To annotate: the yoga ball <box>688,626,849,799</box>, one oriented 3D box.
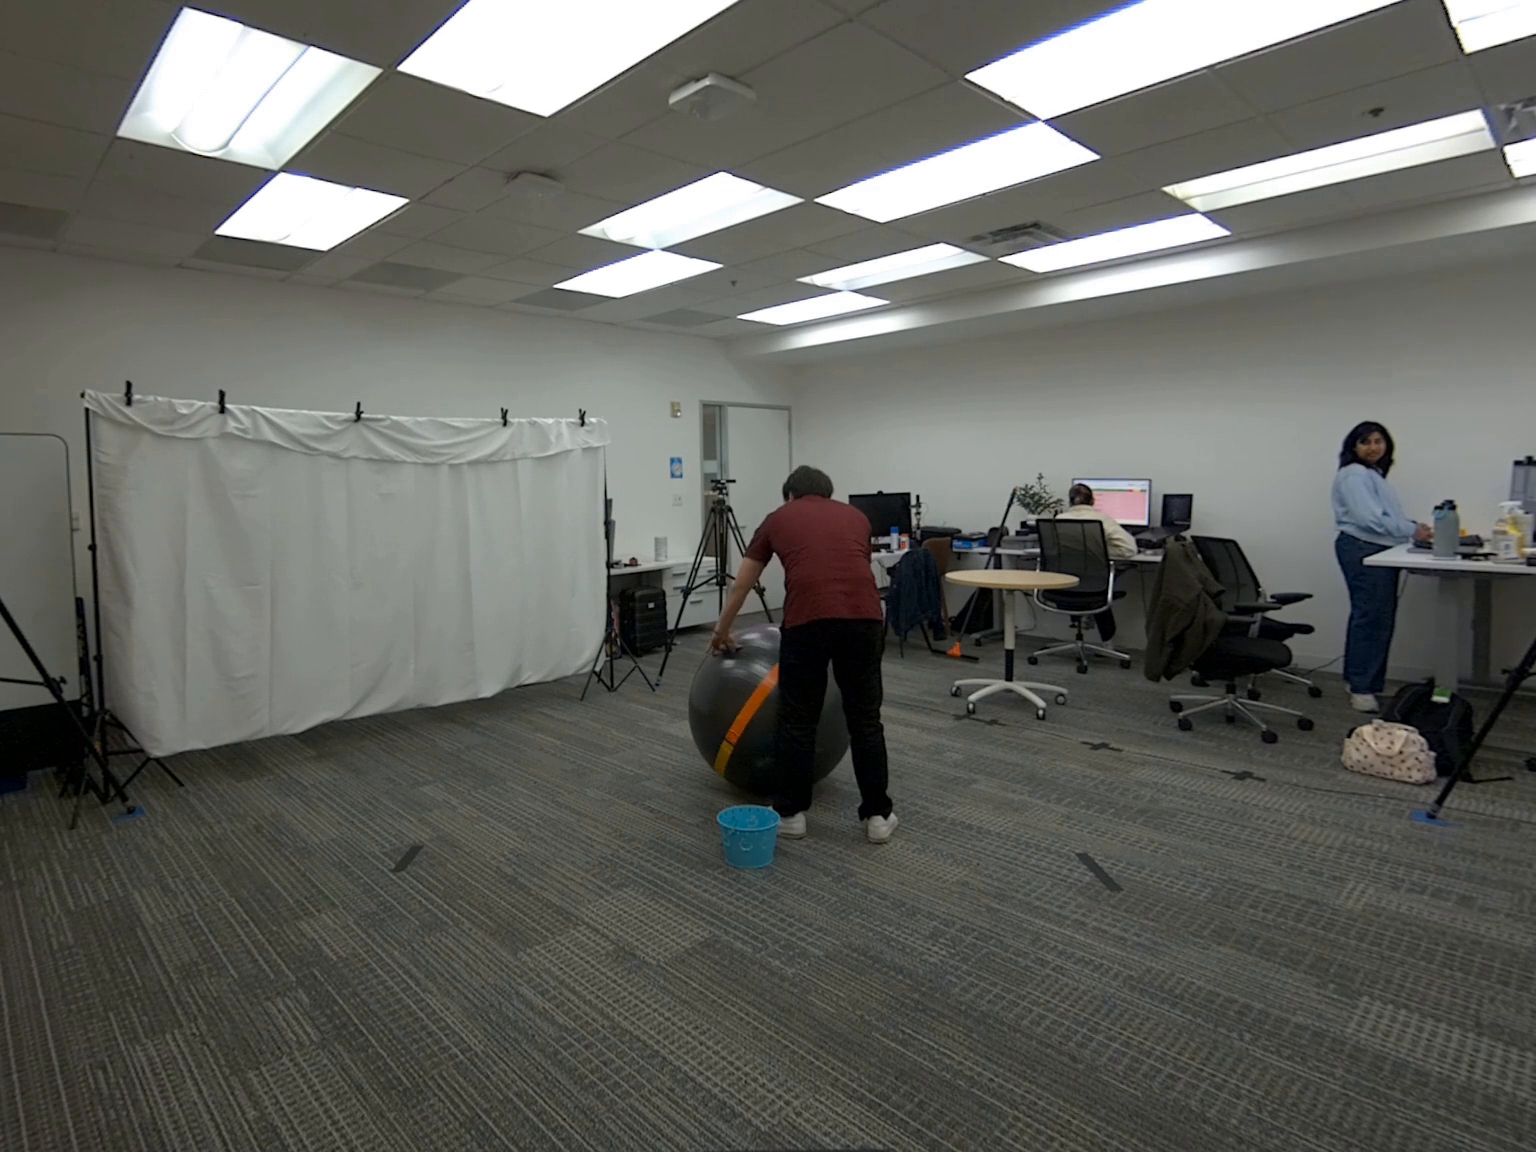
[{"bbox_3d":[0.019,0.605,3.879,0.757,0.755,0.762,-1,5,-2],"label":"yoga ball"}]
